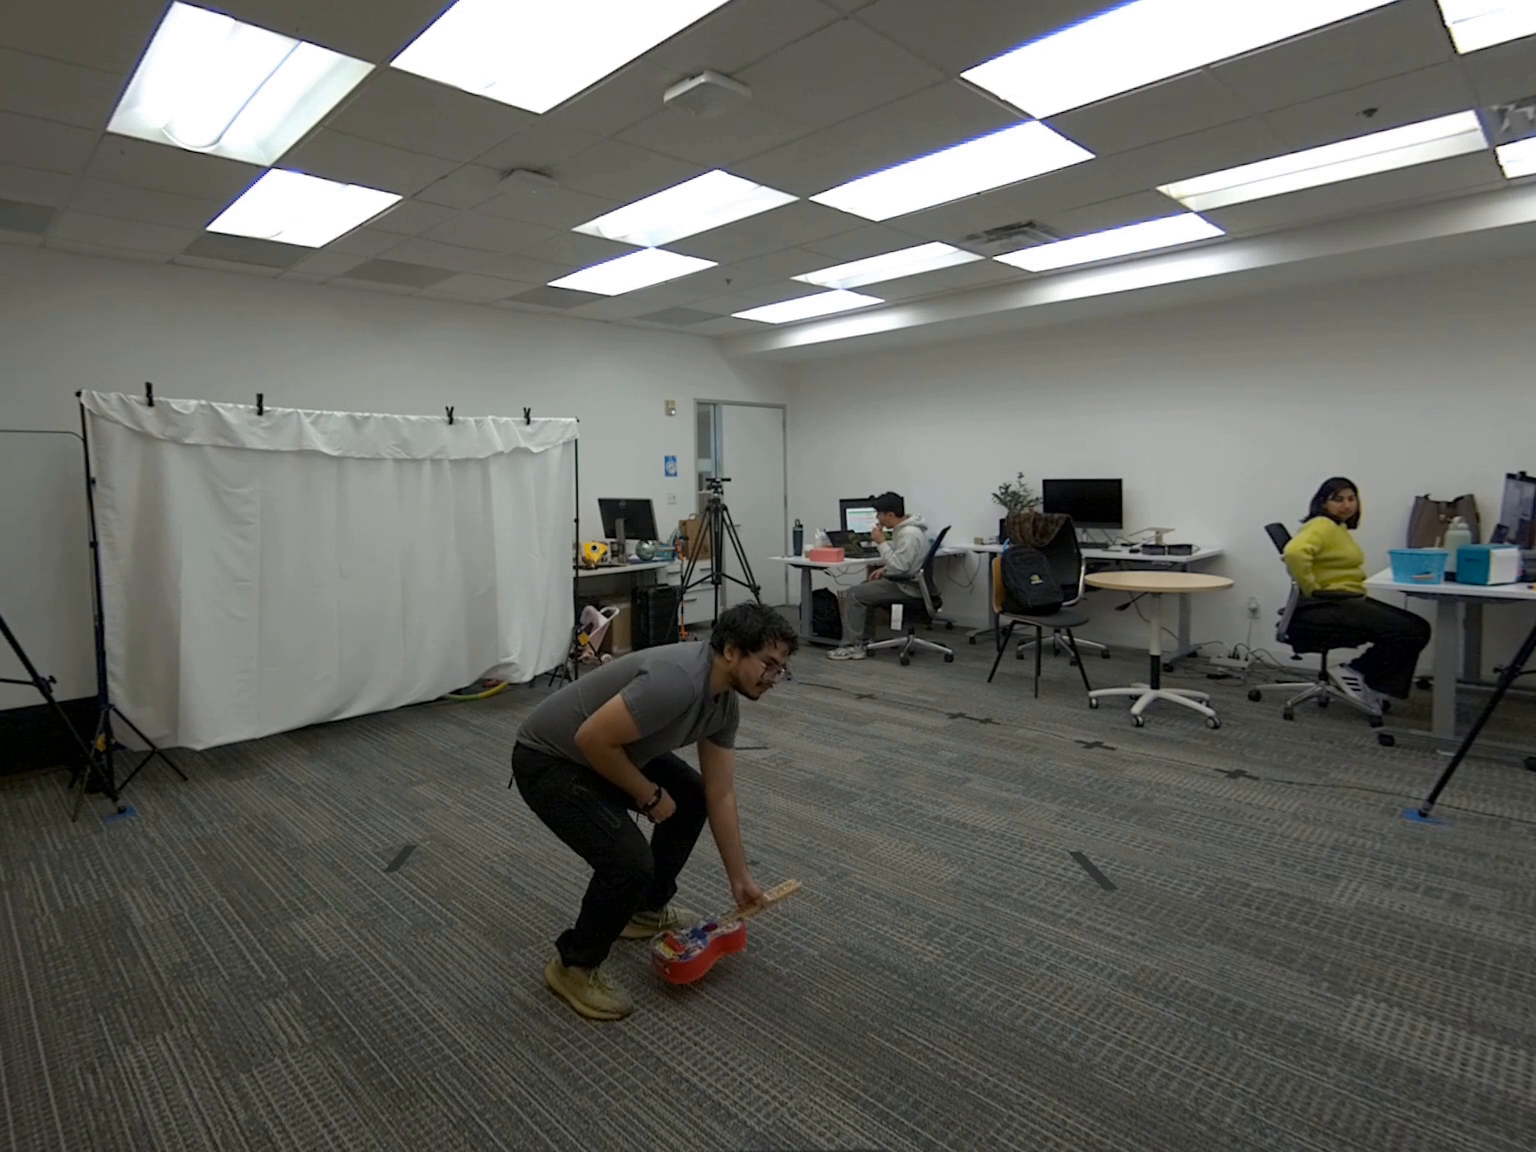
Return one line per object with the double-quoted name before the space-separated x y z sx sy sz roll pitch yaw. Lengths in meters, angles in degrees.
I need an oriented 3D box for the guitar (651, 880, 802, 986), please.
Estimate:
"guitar" -0.086 1.004 2.438 0.490 0.070 0.197 -13 6 -21
